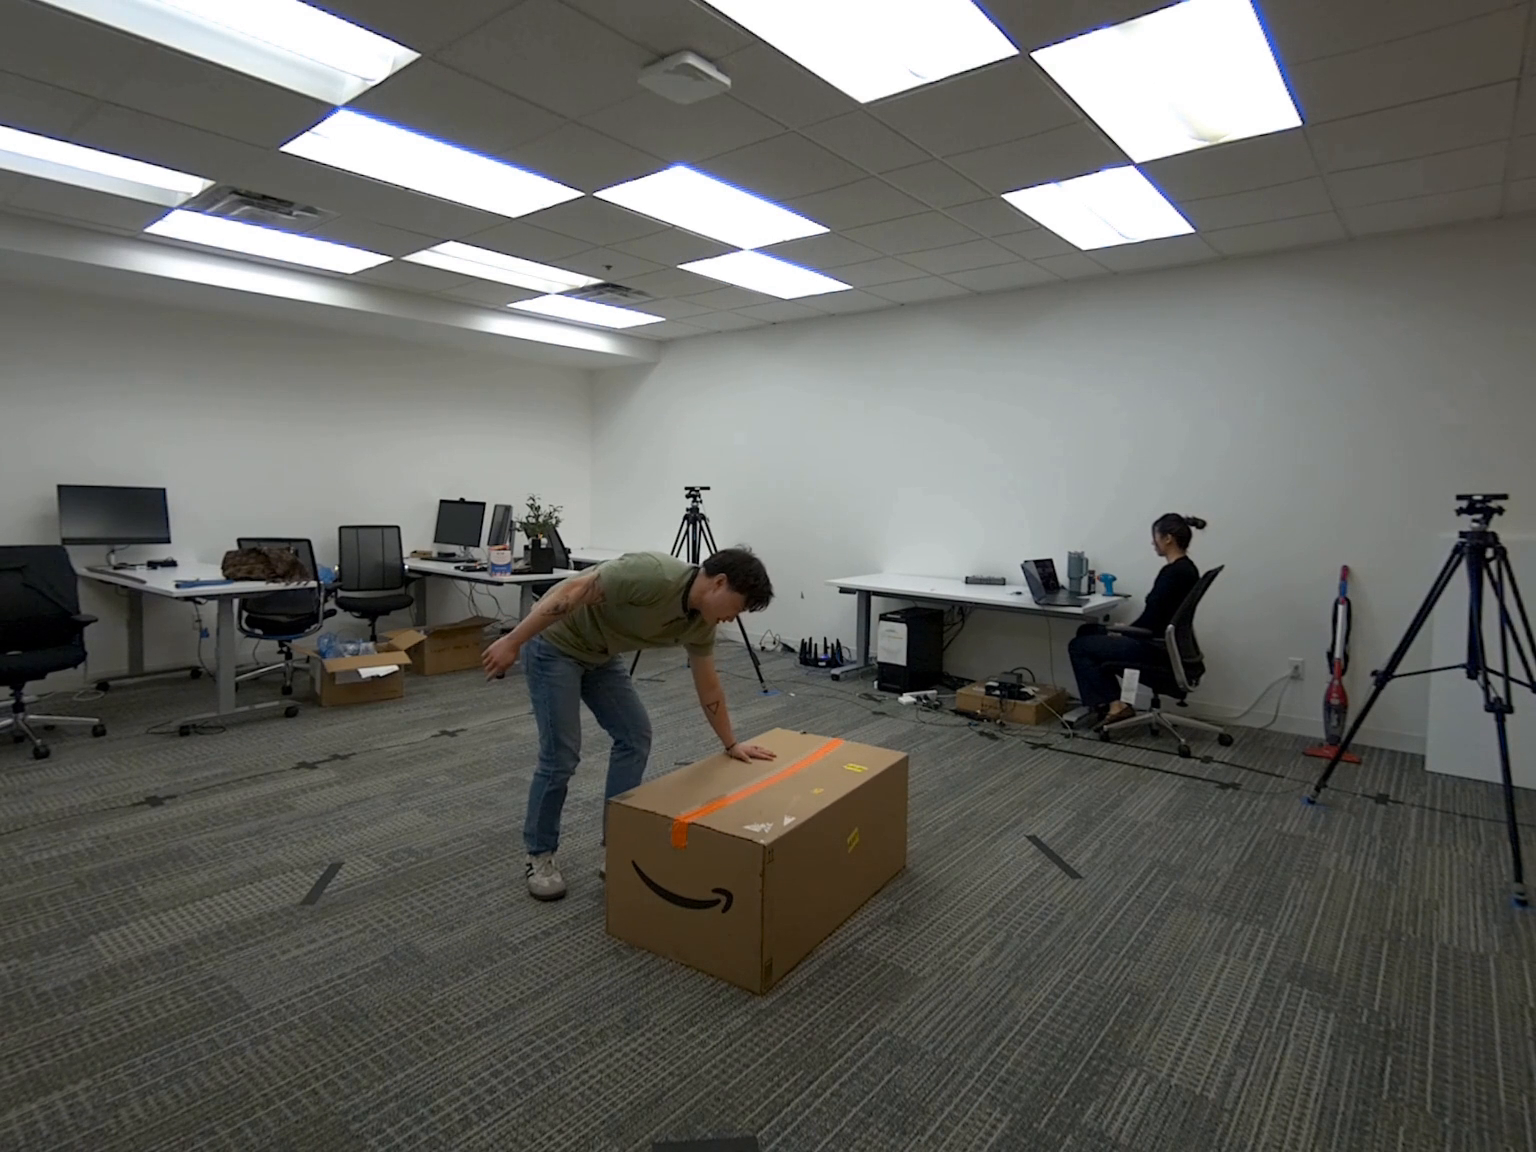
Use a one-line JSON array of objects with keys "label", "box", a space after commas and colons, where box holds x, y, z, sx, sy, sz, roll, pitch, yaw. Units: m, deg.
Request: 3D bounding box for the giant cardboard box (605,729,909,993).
[{"label": "giant cardboard box", "box": [0.000, 0.878, 2.887, 0.595, 0.424, 0.998, 4, 6, 32]}]
